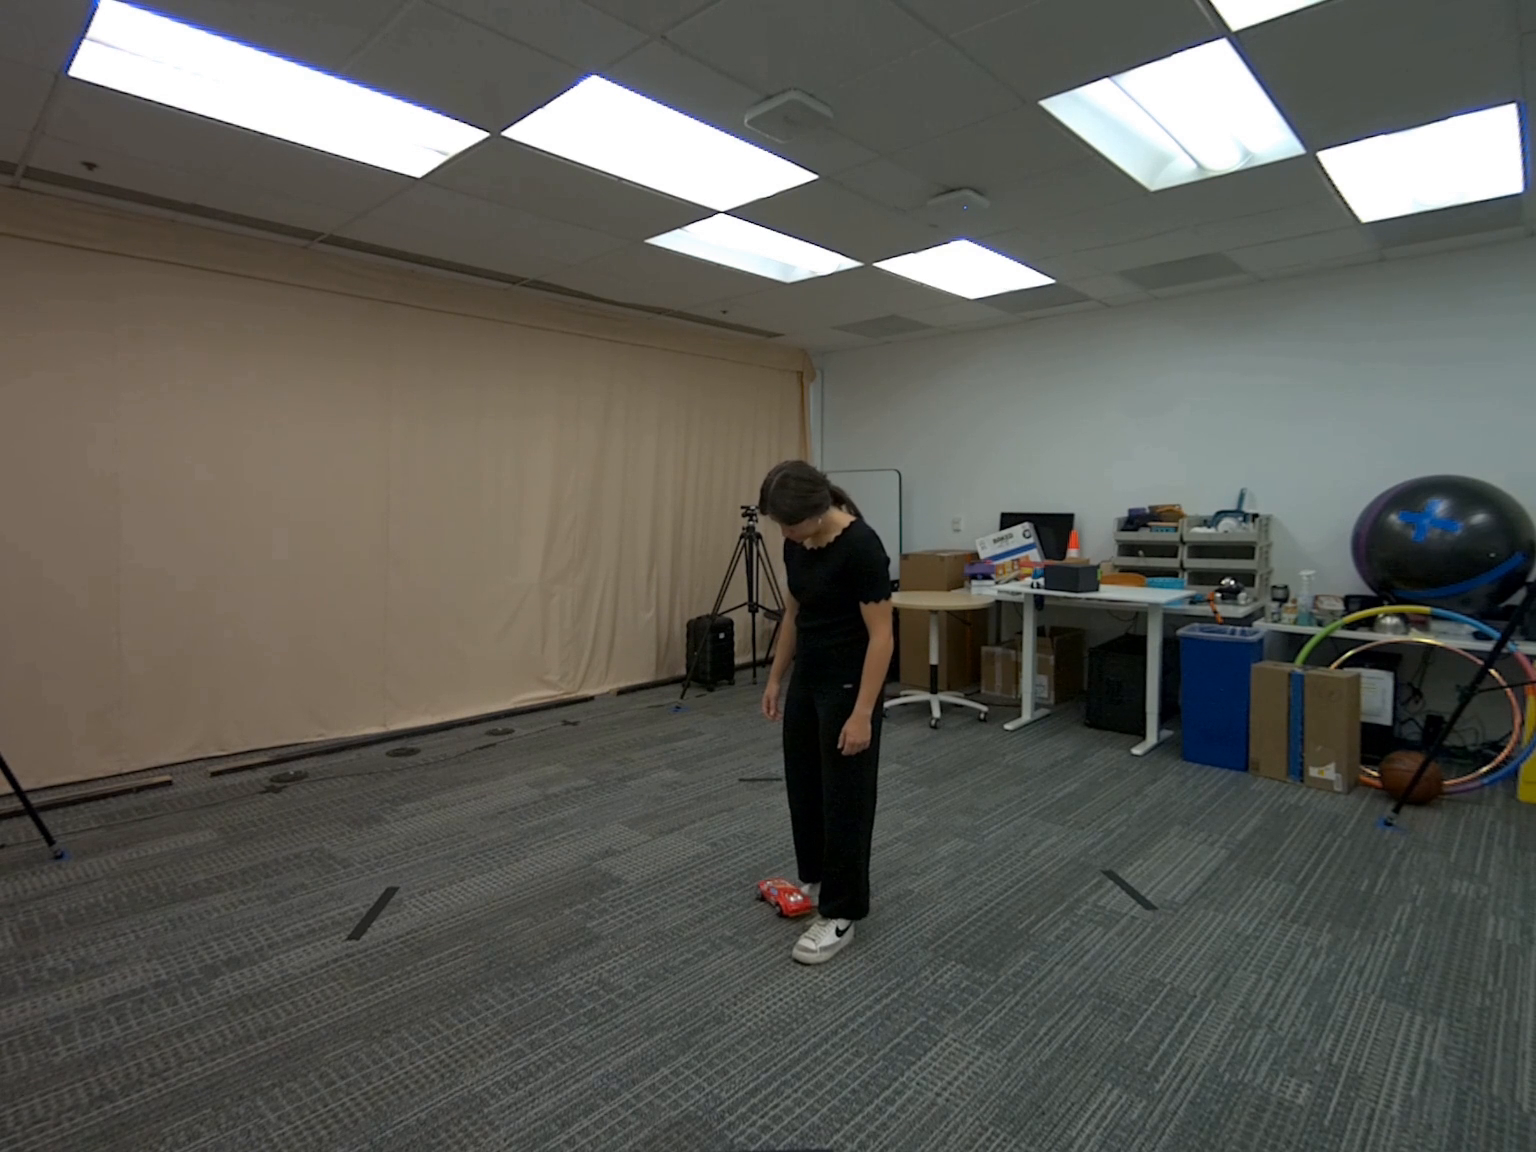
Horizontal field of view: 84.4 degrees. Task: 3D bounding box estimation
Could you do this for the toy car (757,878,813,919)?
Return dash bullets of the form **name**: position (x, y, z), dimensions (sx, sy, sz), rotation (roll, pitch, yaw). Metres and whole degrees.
- **toy car**: position (0.061, 1.115, 2.916), dimensions (0.127, 0.083, 0.259), rotation (-1, -6, -25)
